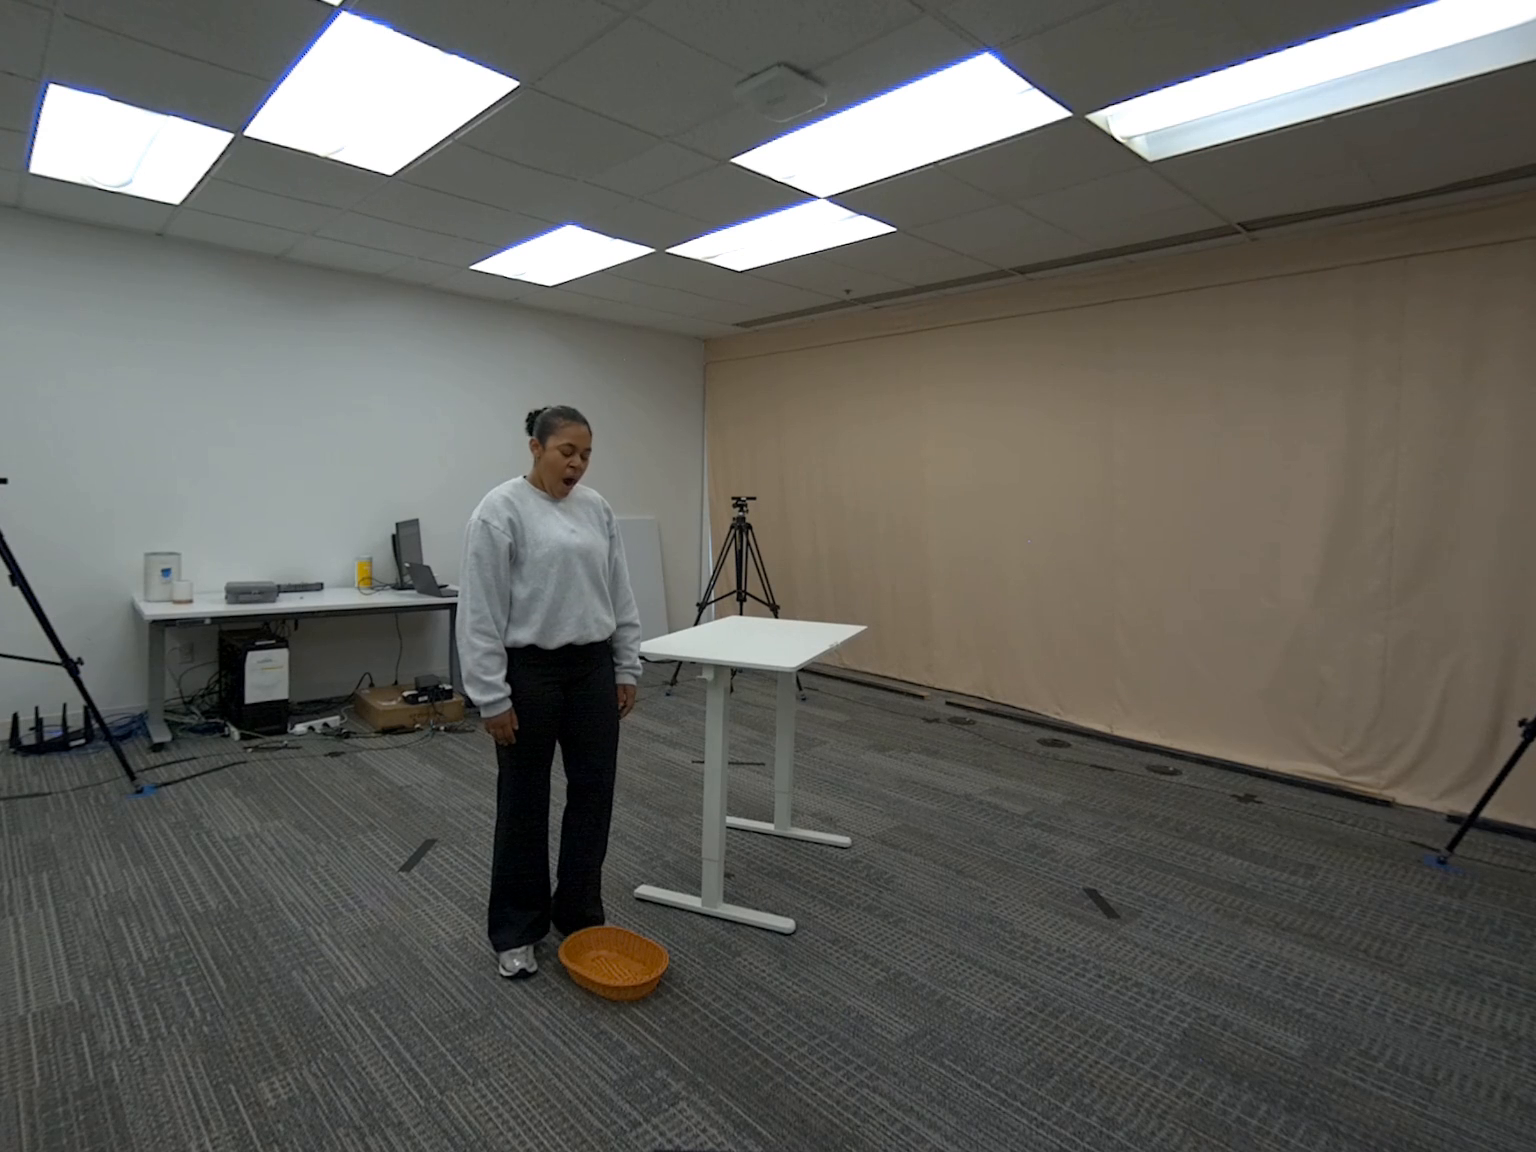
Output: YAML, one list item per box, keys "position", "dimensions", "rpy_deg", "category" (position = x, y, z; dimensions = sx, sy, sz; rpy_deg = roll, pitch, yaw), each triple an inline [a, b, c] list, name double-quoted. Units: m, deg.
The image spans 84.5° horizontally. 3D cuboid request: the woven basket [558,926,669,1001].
- position: [-0.454, 1.122, 2.424]
  dimensions: [0.359, 0.073, 0.247]
  rpy_deg: [6, 8, 39]
  category: "woven basket"
